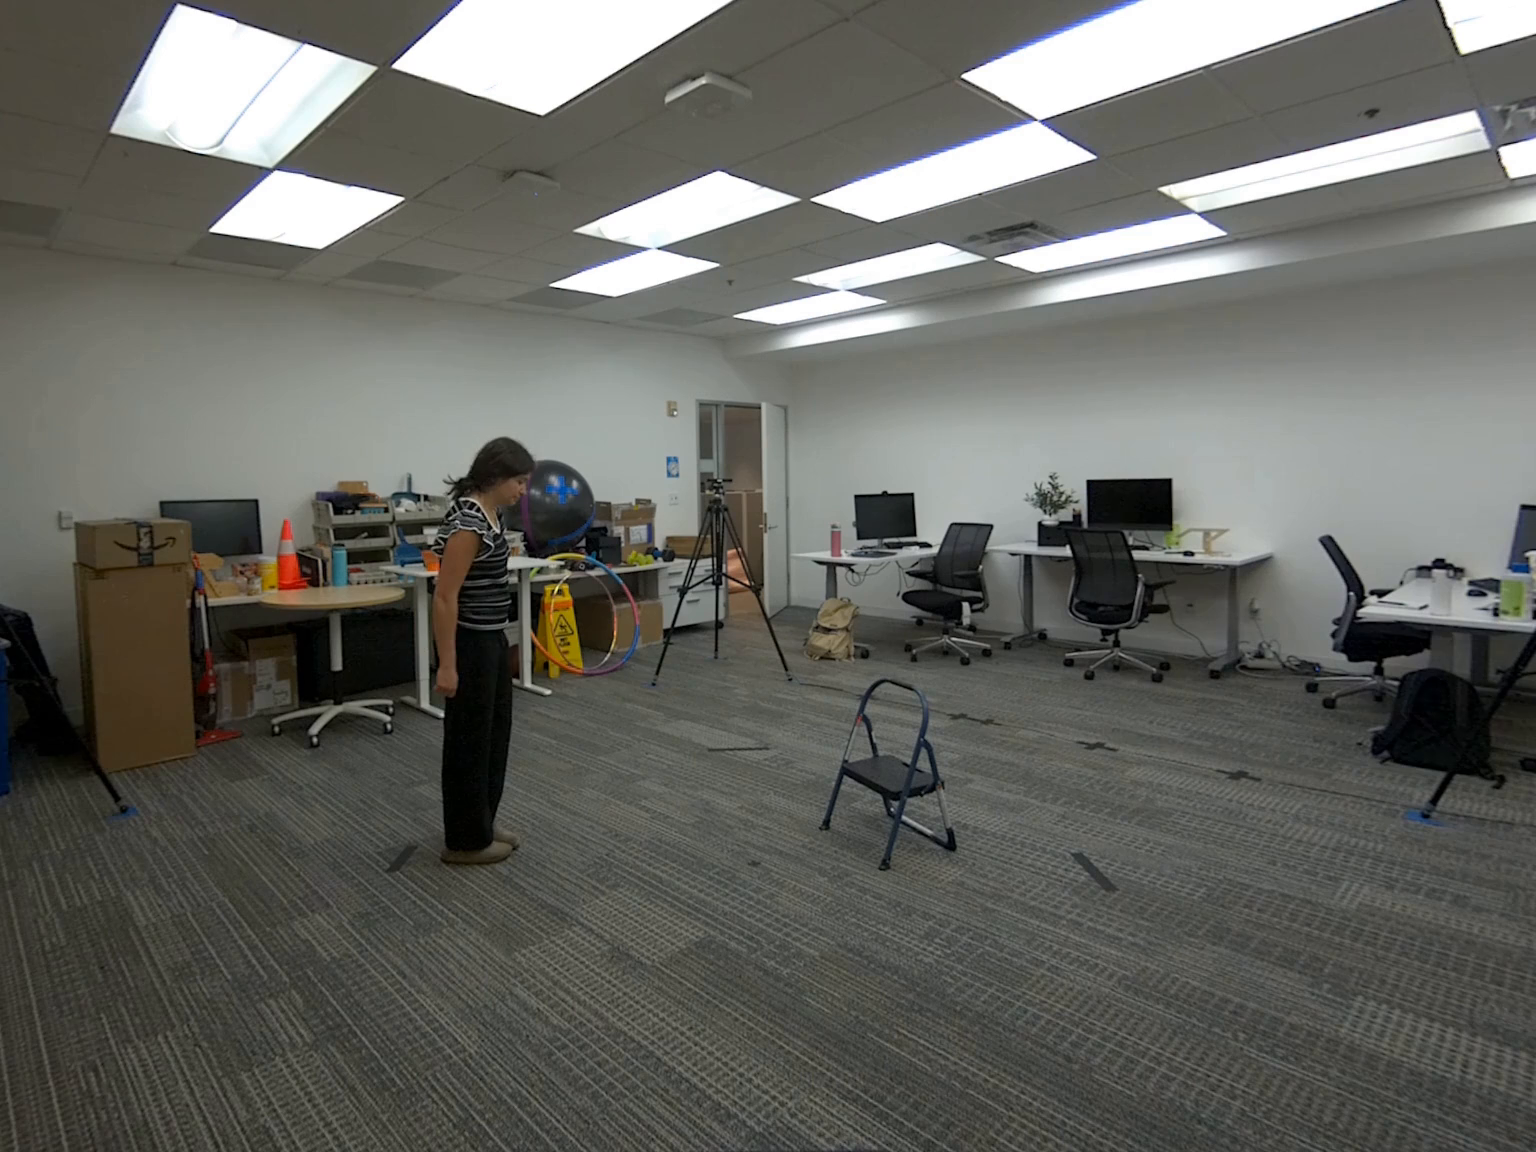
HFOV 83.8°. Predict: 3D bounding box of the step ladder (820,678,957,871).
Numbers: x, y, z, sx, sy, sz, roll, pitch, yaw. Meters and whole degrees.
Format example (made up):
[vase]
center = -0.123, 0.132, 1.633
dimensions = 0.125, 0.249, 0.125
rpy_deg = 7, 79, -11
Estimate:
[step ladder]
center = 0.450, 0.709, 3.273
dimensions = 0.341, 0.604, 0.442
rpy_deg = -3, 5, -27
